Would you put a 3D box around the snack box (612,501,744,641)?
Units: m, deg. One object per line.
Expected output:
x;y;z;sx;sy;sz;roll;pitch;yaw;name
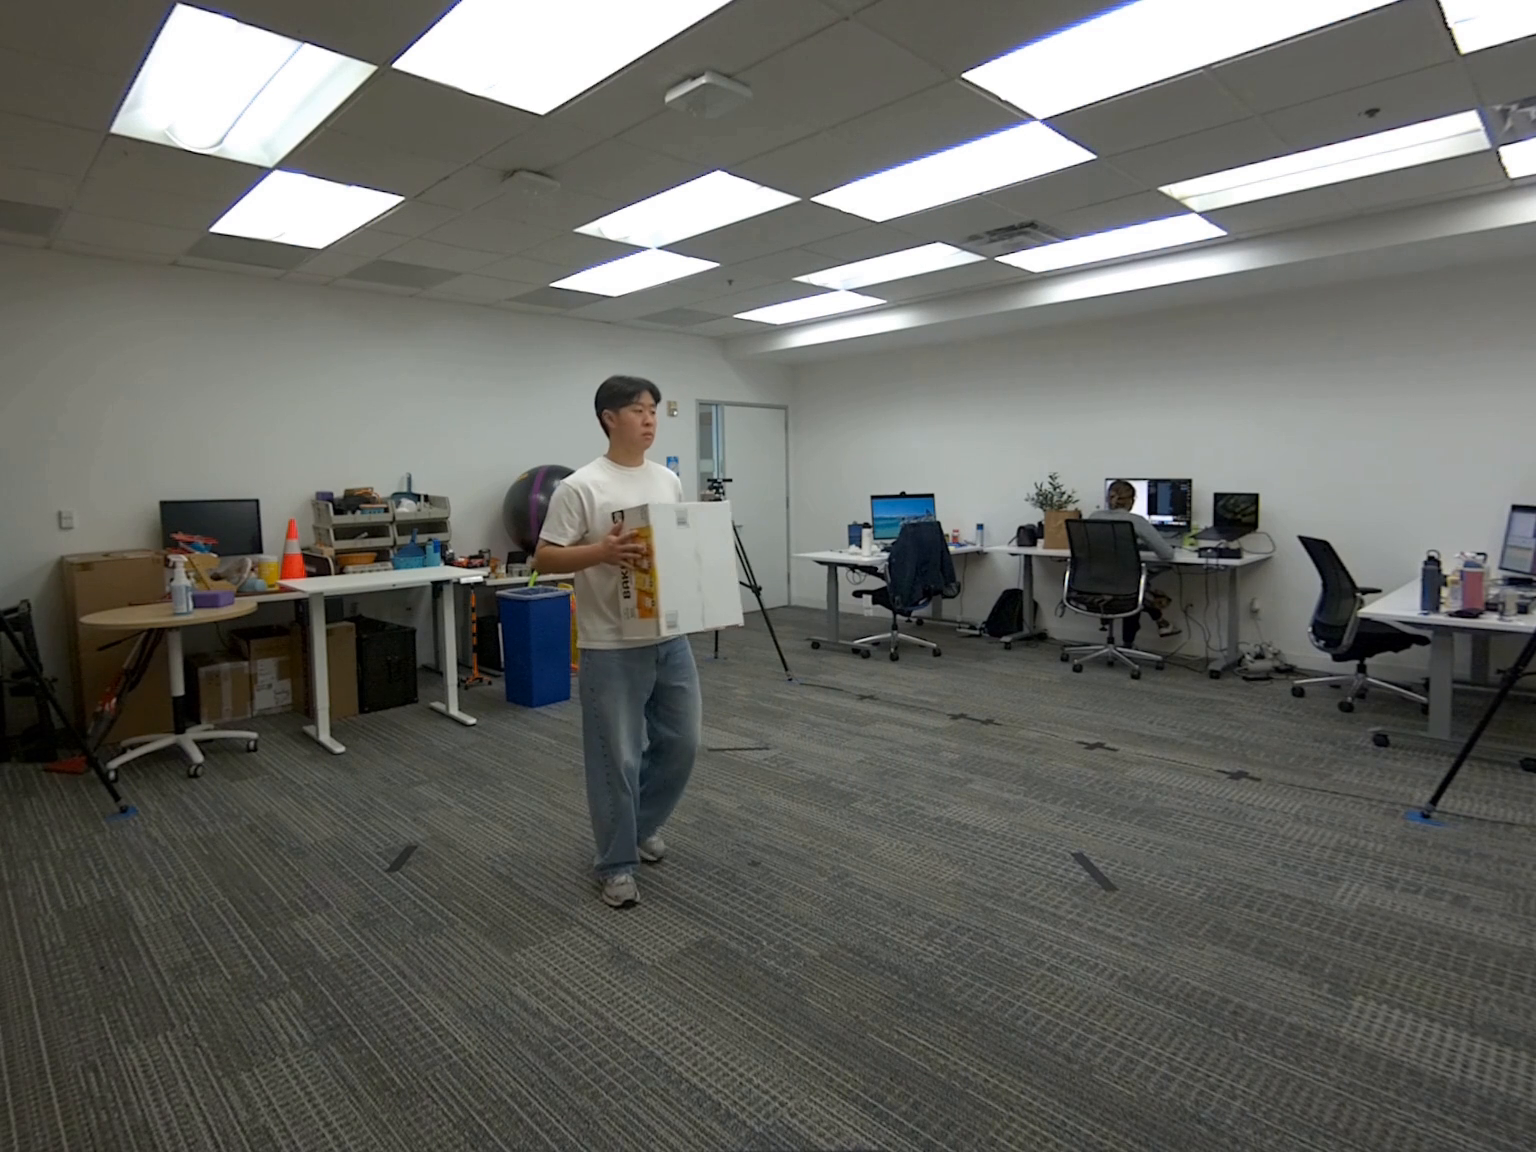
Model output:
-0.287;-0.019;2.726;0.331;0.406;0.211;-5;-3;-42;snack box
